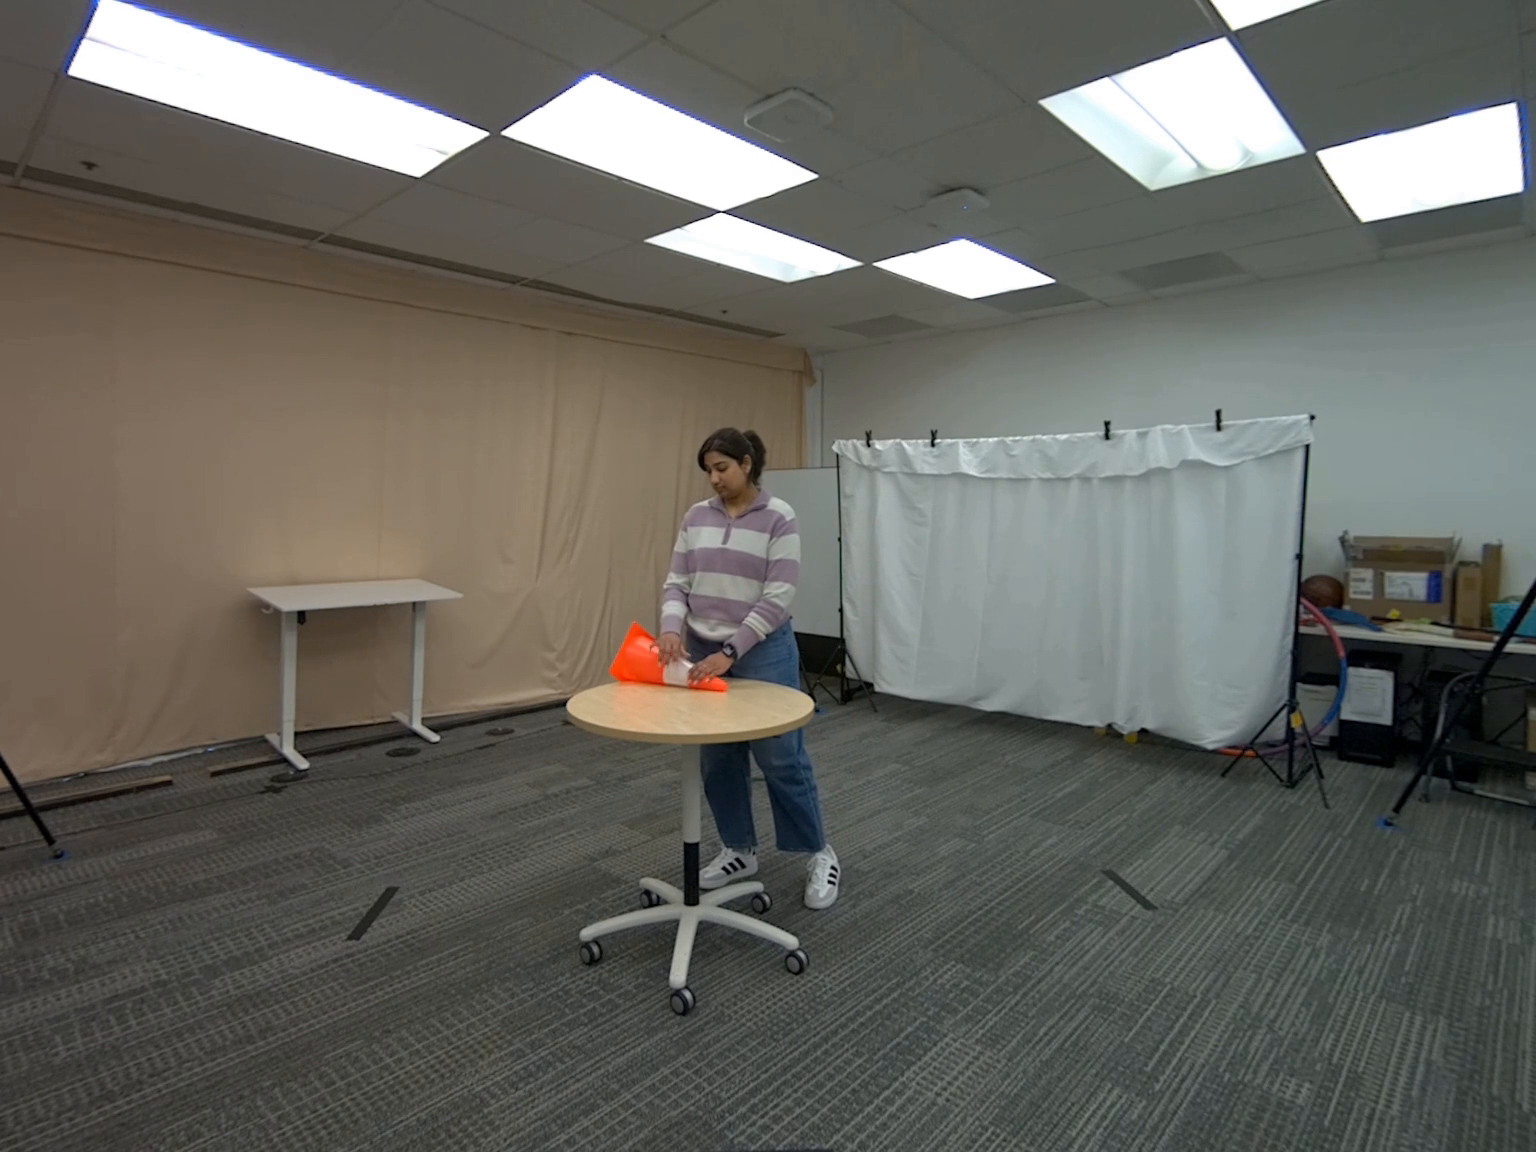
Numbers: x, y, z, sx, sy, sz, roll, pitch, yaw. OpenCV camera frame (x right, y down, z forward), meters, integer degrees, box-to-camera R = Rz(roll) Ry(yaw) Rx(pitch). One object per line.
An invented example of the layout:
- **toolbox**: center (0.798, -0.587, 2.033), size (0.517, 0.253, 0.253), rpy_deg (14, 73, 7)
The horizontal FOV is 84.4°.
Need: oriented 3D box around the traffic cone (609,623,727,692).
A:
- **traffic cone**: center (-0.307, 0.331, 2.854), size (0.396, 0.205, 0.197), rpy_deg (16, -18, 30)
